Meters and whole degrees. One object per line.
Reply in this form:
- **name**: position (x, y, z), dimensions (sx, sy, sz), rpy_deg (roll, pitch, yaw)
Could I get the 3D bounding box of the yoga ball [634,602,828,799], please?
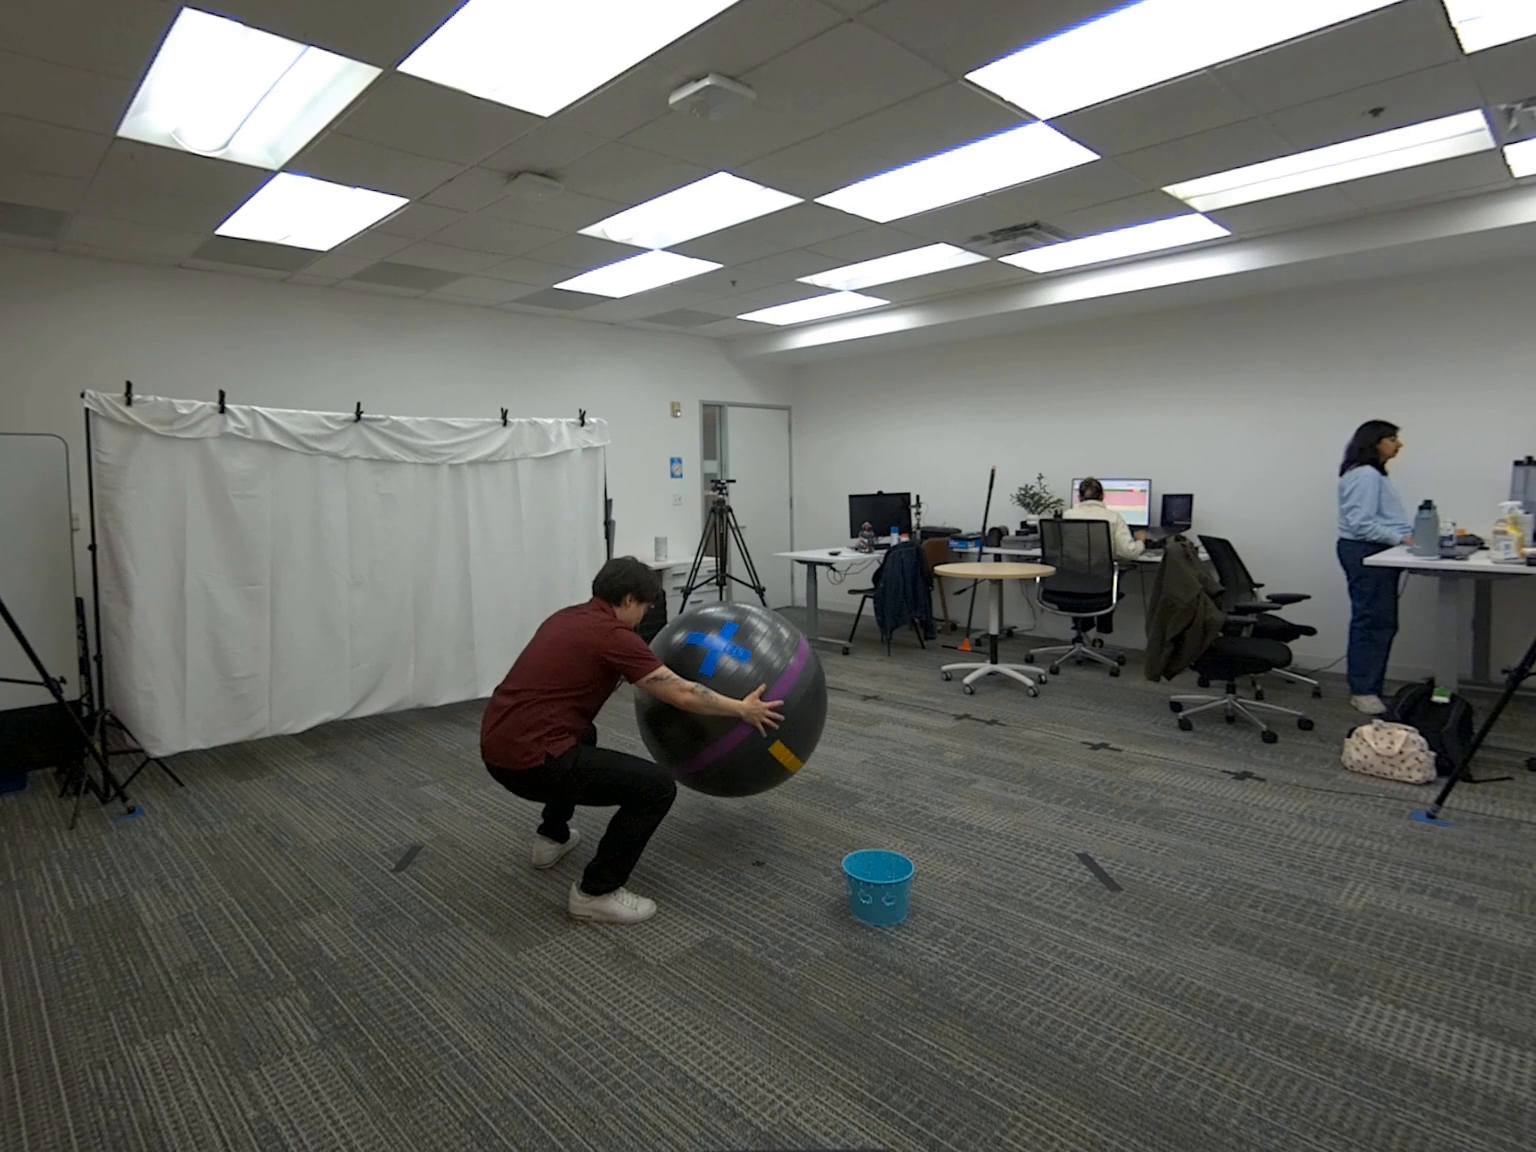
- **yoga ball**: position (-0.149, 0.478, 3.371), dimensions (0.757, 0.755, 0.762), rpy_deg (-1, 5, -2)
